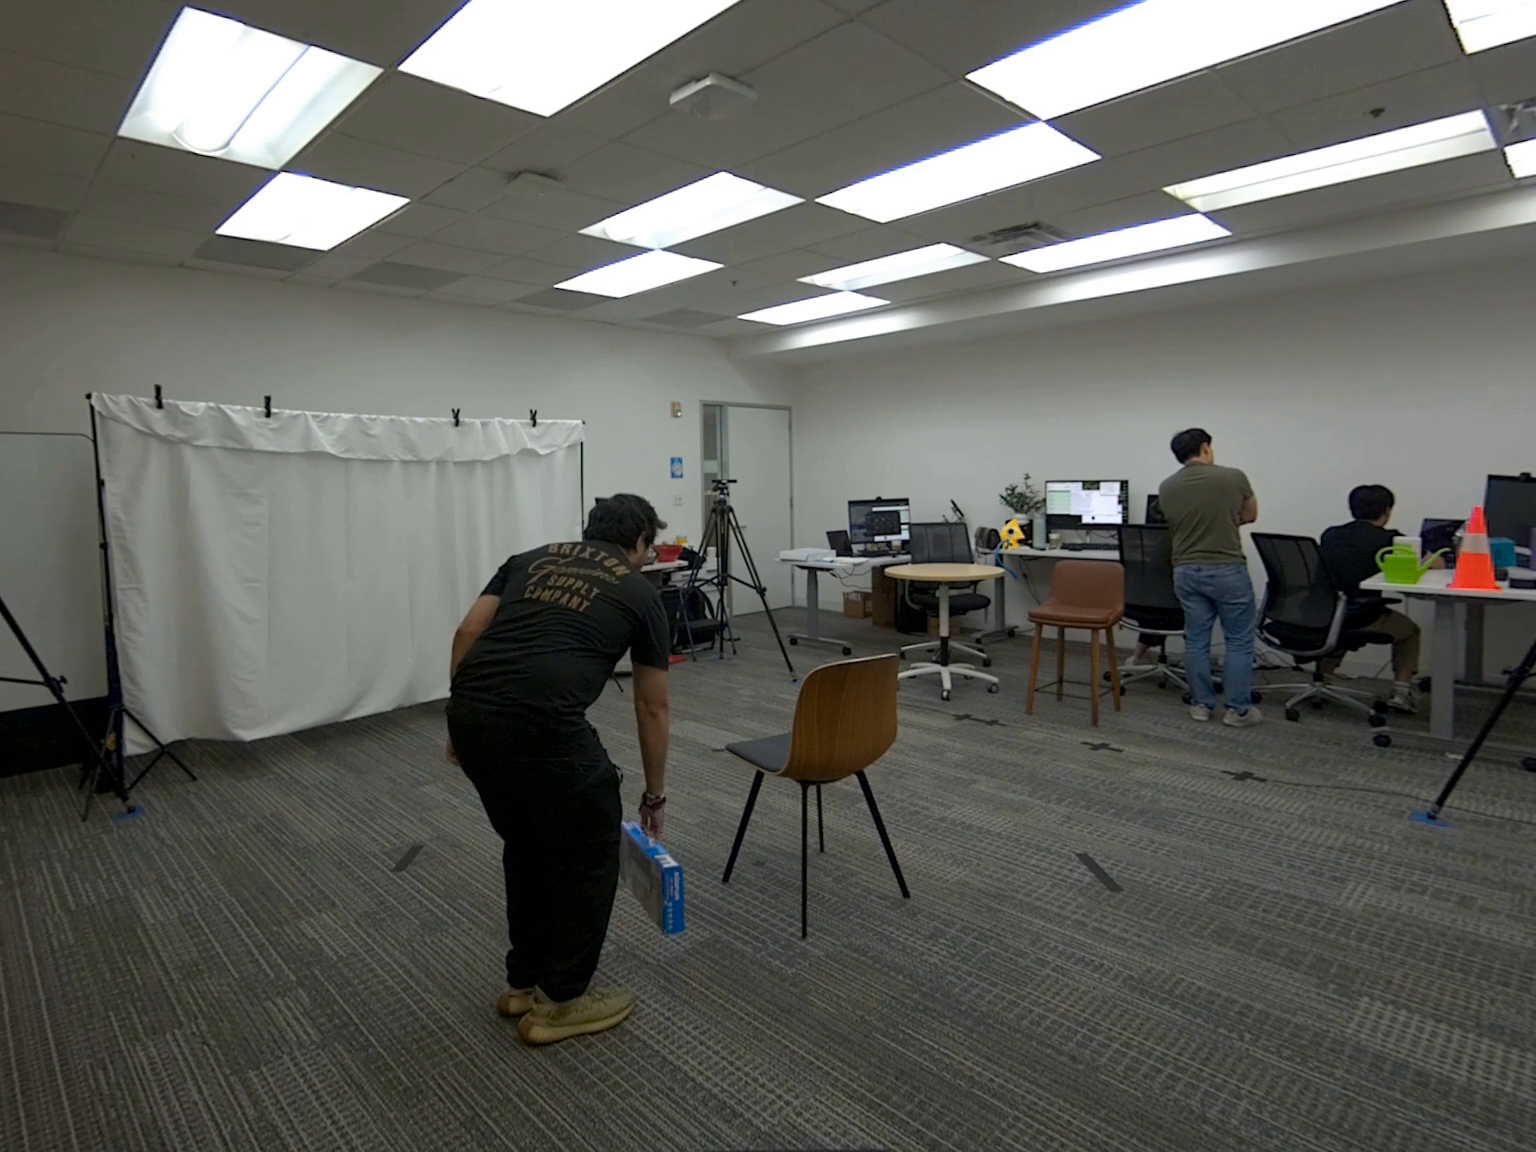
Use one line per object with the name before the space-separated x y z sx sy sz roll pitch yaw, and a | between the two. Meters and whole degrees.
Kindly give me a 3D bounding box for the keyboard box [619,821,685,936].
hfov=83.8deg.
keyboard box | -0.333 0.846 2.429 0.058 0.176 0.445 -1 1 -24
